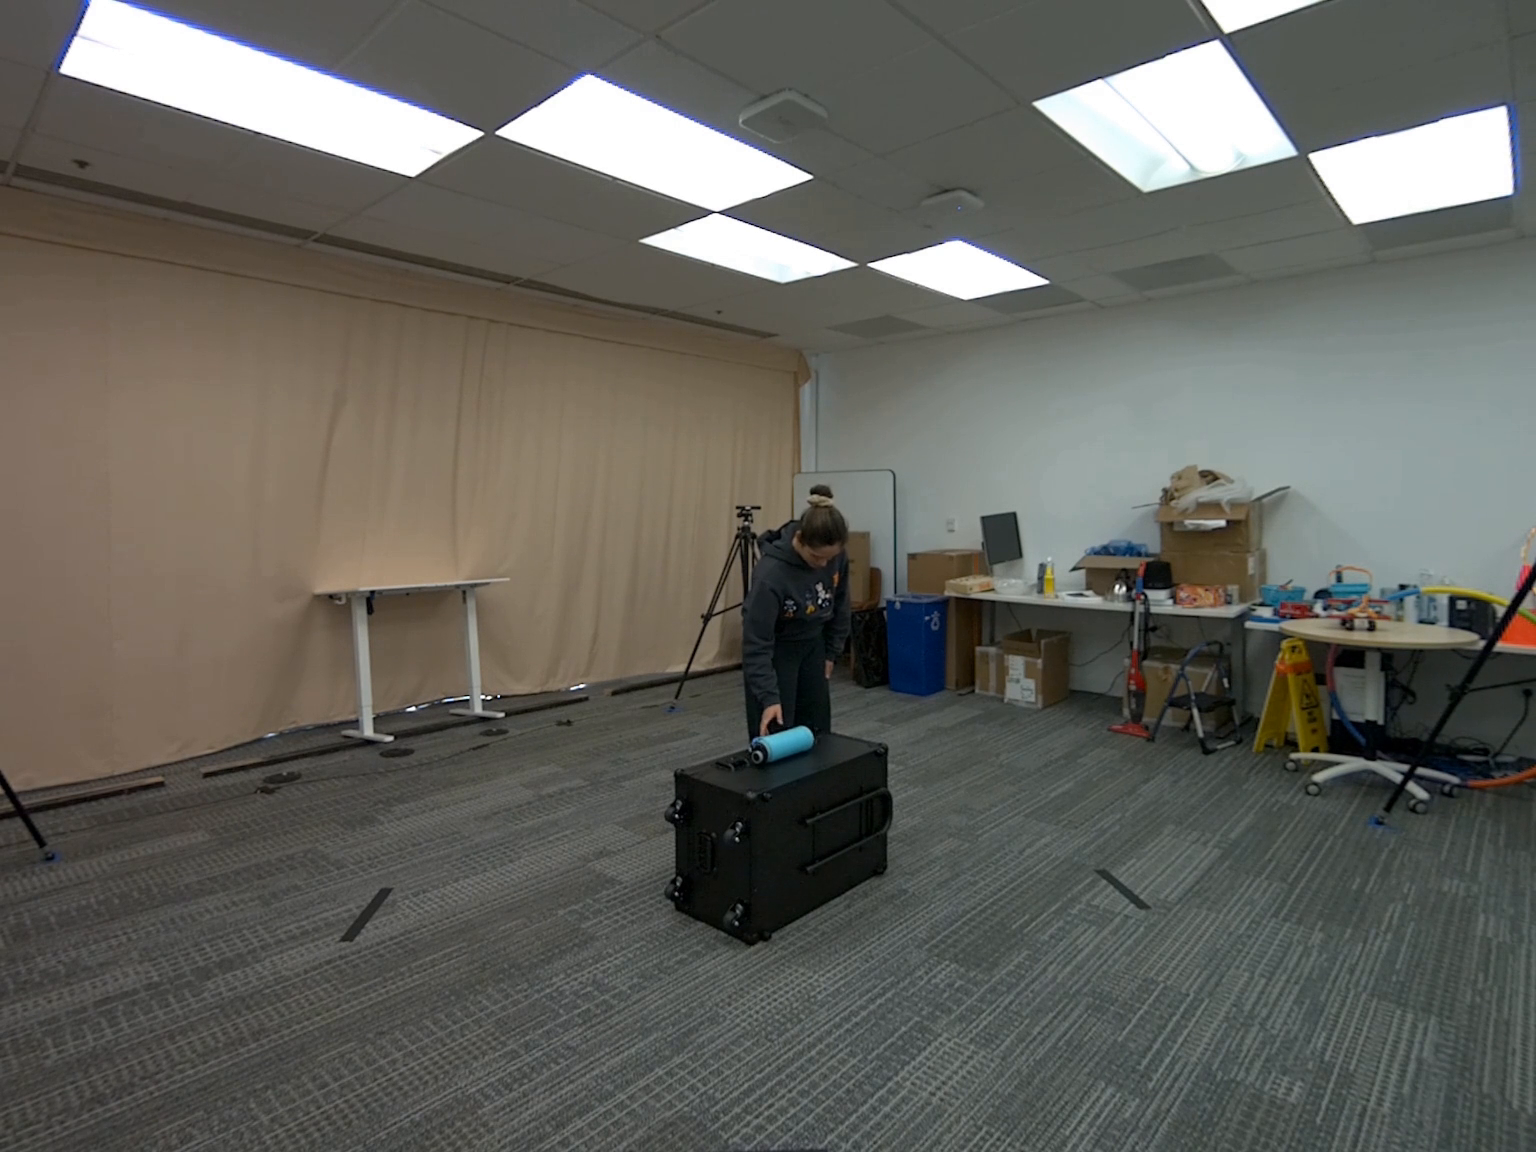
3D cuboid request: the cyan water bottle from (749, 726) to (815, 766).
[{"bbox_3d":[0.059,0.604,3.035,0.095,0.092,0.275,3,7,43],"label":"cyan water bottle"}]
